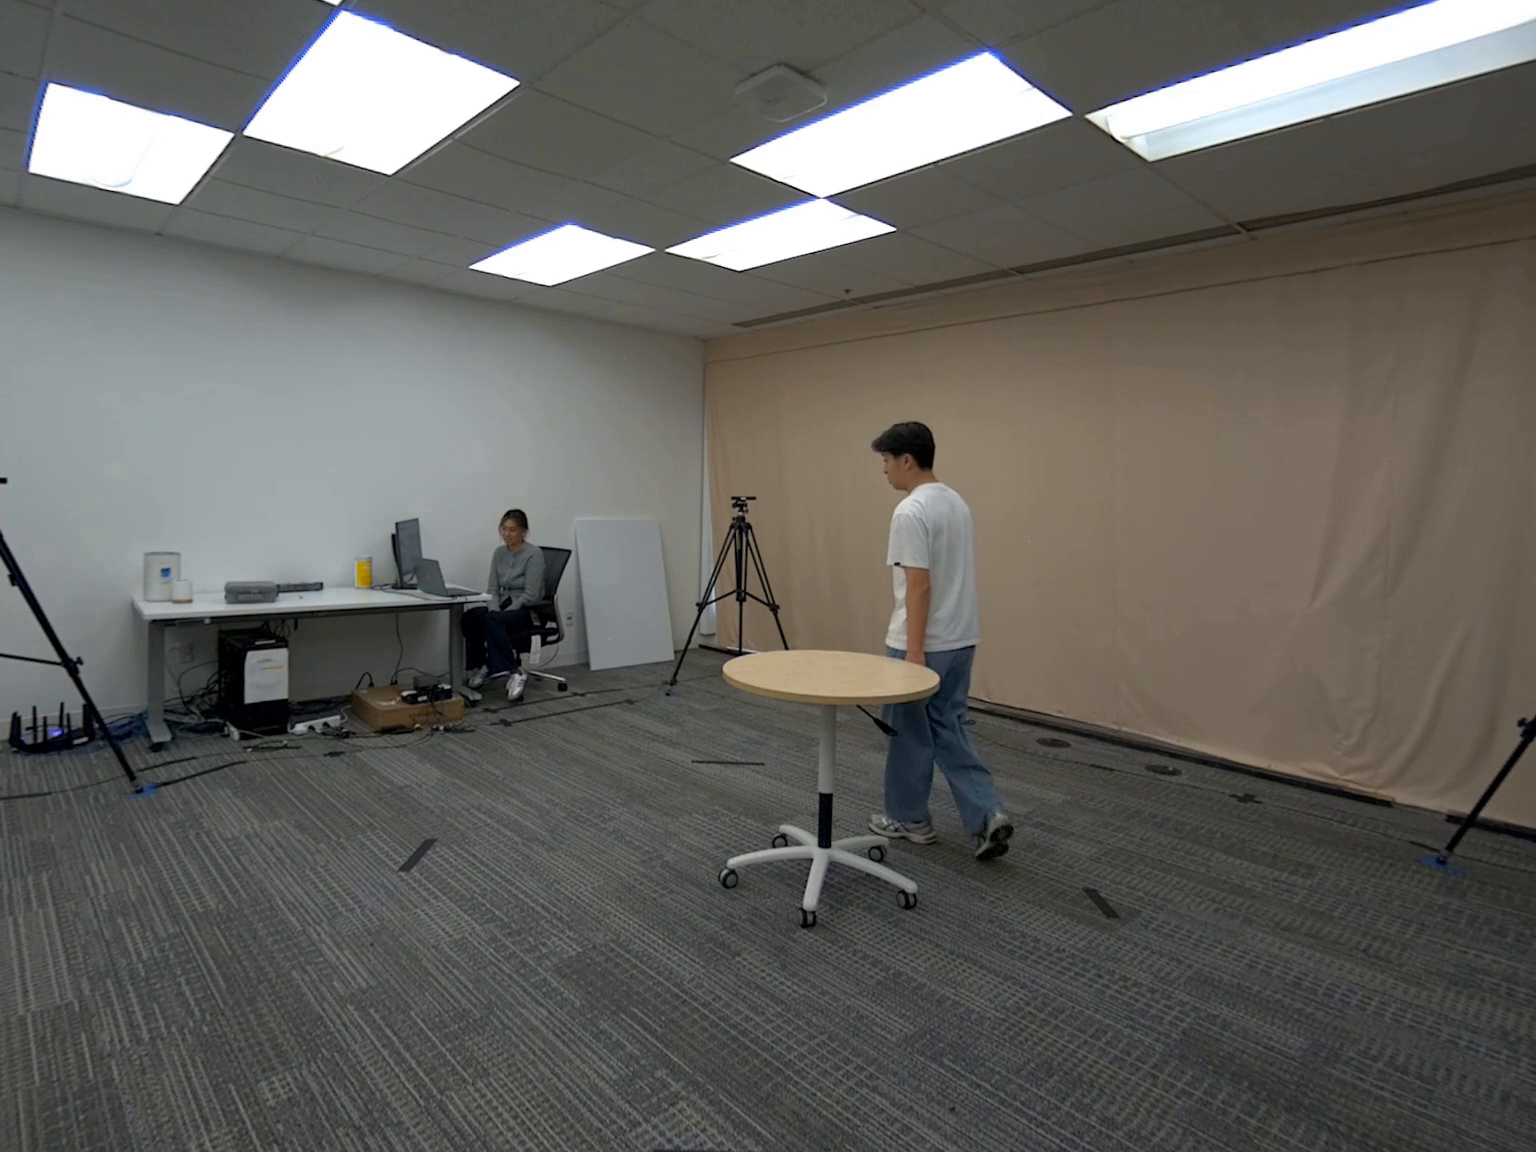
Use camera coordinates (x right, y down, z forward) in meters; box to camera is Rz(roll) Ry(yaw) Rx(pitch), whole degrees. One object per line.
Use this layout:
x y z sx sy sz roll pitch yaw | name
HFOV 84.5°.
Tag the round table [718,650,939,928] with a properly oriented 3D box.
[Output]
0.200 0.733 3.024 0.763 0.792 0.767 1 4 -1 | round table
